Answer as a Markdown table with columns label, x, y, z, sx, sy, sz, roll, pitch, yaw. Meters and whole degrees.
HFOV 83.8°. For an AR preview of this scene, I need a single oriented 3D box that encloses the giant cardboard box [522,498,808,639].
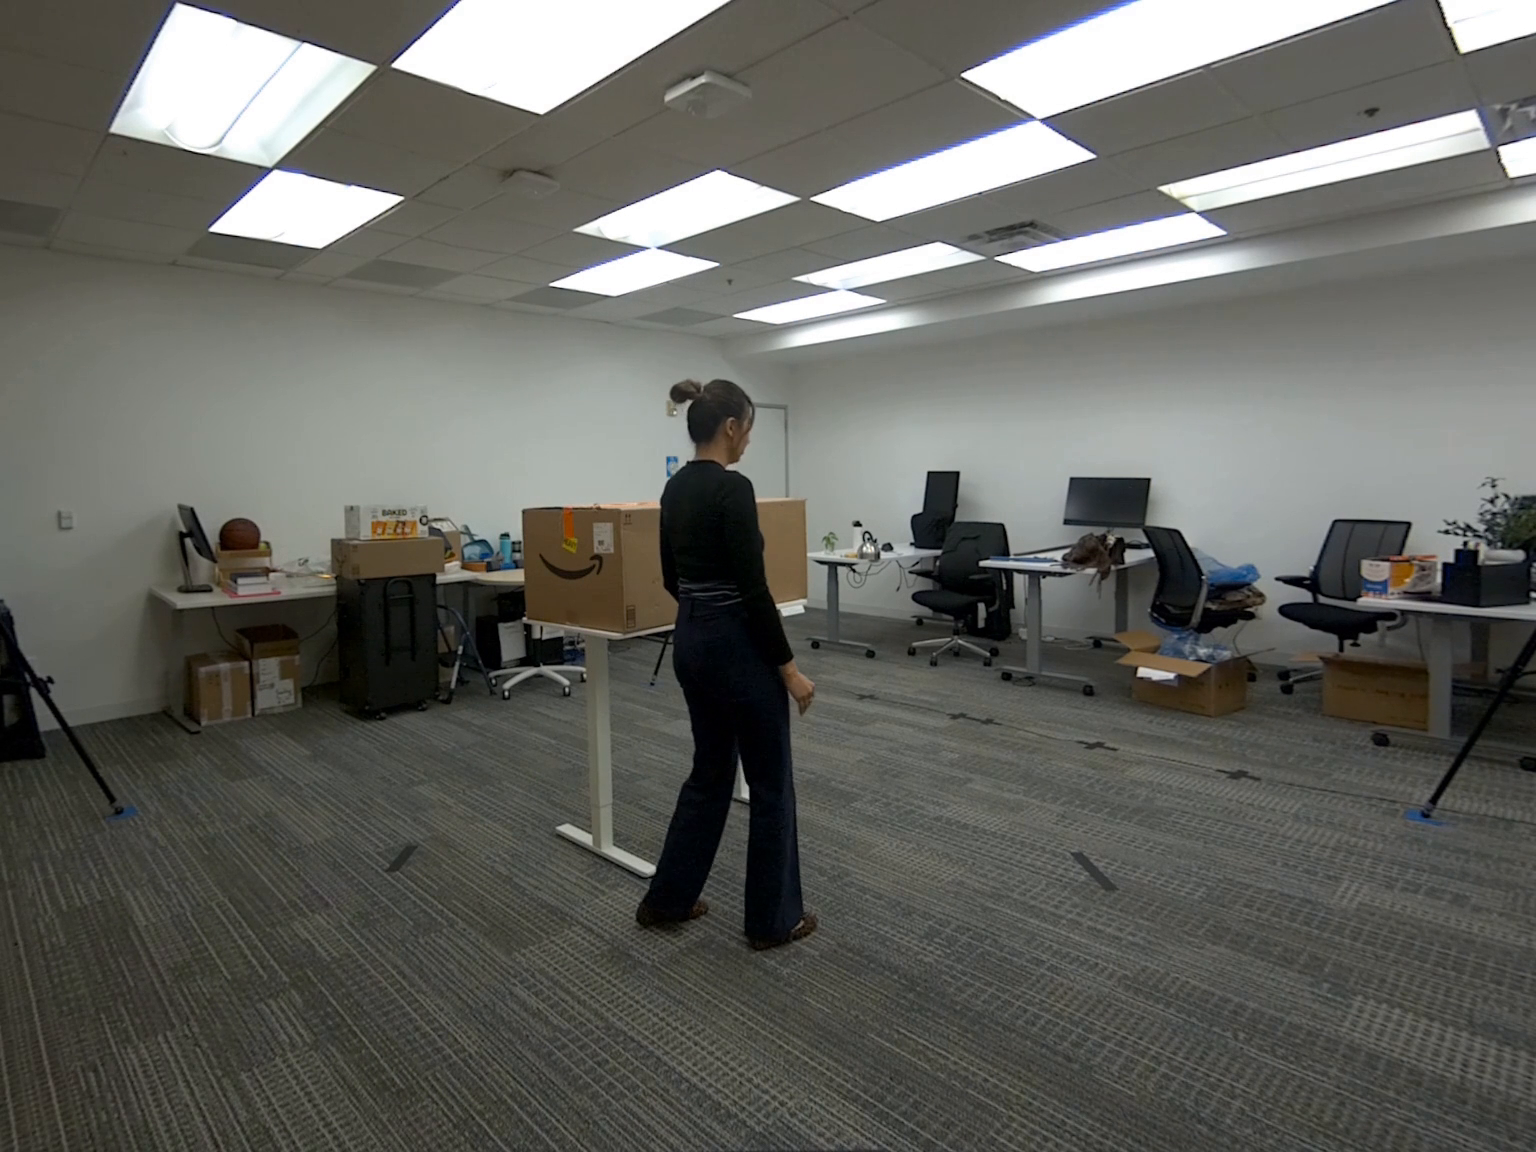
| label | x | y | z | sx | sy | sz | roll | pitch | yaw |
| --- | --- | --- | --- | --- | --- | --- | --- | --- | --- |
| giant cardboard box | -0.378 | -0.080 | 3.418 | 0.595 | 0.424 | 1.000 | 3 | 8 | 41 |
